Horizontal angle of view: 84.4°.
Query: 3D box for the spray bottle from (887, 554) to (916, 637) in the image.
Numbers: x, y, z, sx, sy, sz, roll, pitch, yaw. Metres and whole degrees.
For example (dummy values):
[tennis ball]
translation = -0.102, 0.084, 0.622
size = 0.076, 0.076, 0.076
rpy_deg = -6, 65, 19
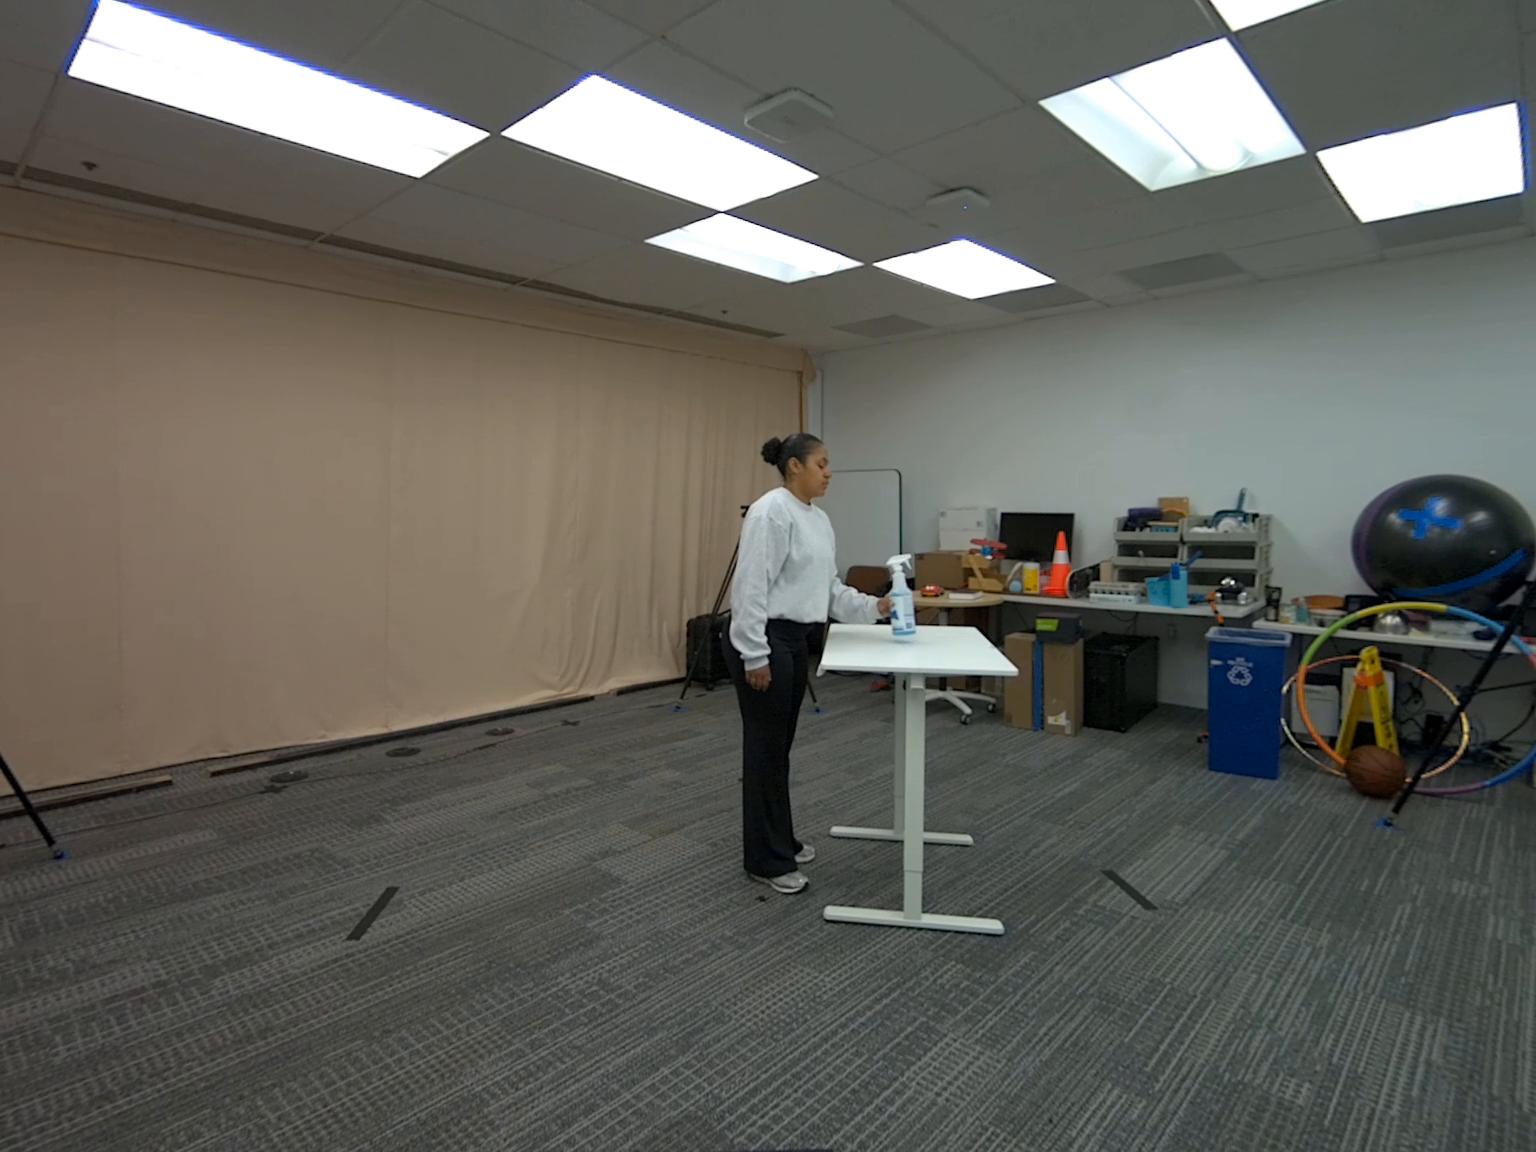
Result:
[spray bottle]
translation = 0.501, 0.076, 3.132
size = 0.093, 0.298, 0.084
rpy_deg = -6, -3, 43
